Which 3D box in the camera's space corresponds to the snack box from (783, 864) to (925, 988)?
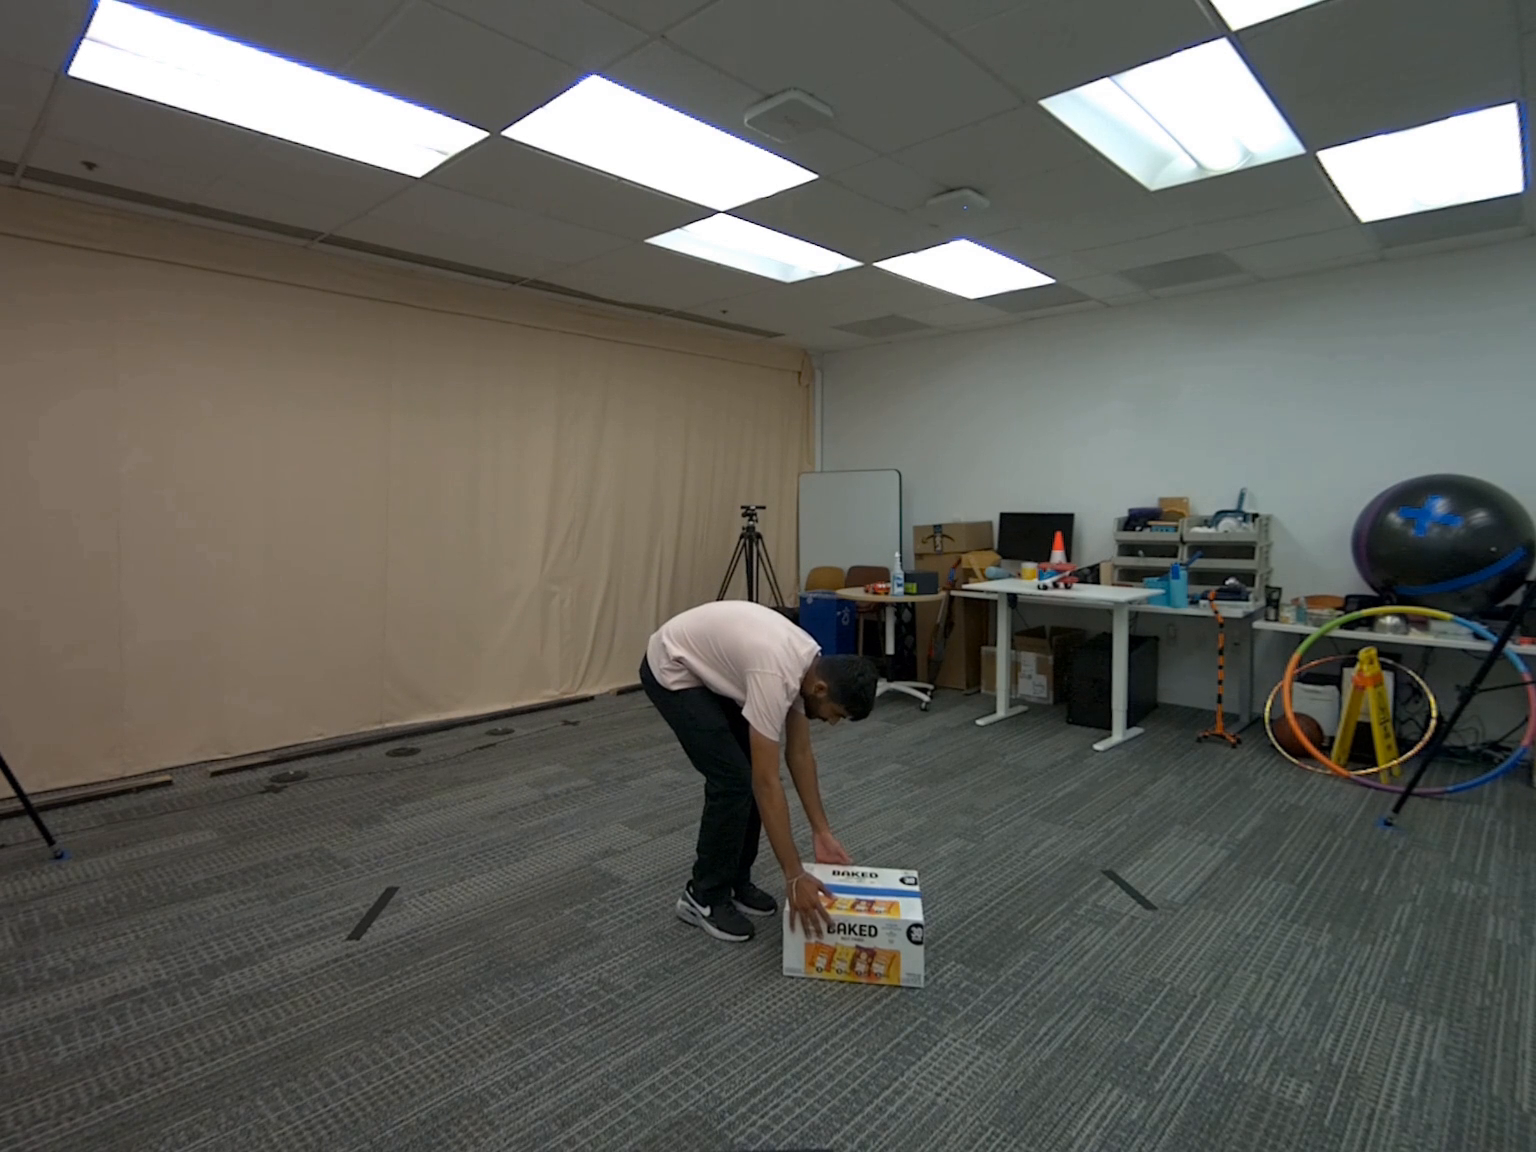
[{"bbox_3d":[0.273,1.068,2.606,0.409,0.205,0.337,1,4,9],"label":"snack box"}]
